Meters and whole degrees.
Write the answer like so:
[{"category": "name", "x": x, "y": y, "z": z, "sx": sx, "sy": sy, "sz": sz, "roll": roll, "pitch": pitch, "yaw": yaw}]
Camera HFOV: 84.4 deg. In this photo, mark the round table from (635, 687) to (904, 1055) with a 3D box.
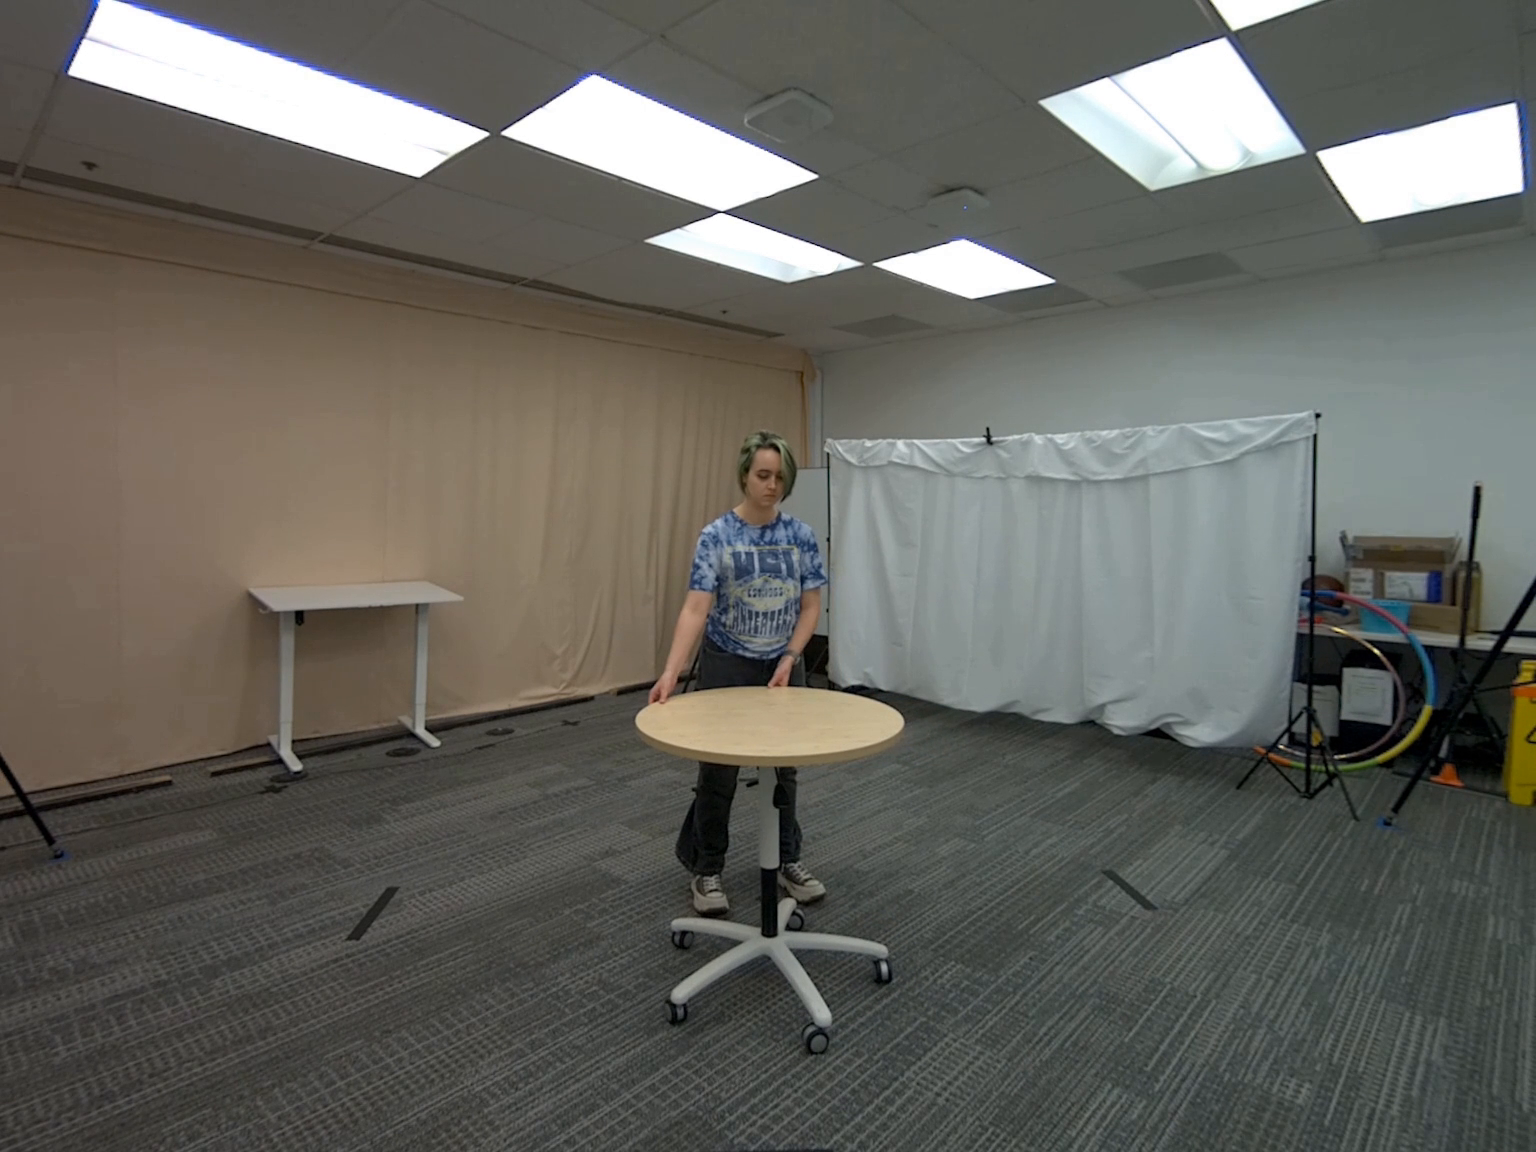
[{"category": "round table", "x": 0.013, "y": 0.799, "z": 2.446, "sx": 0.763, "sy": 0.792, "sz": 0.767, "roll": -1, "pitch": 4, "yaw": -2}]
